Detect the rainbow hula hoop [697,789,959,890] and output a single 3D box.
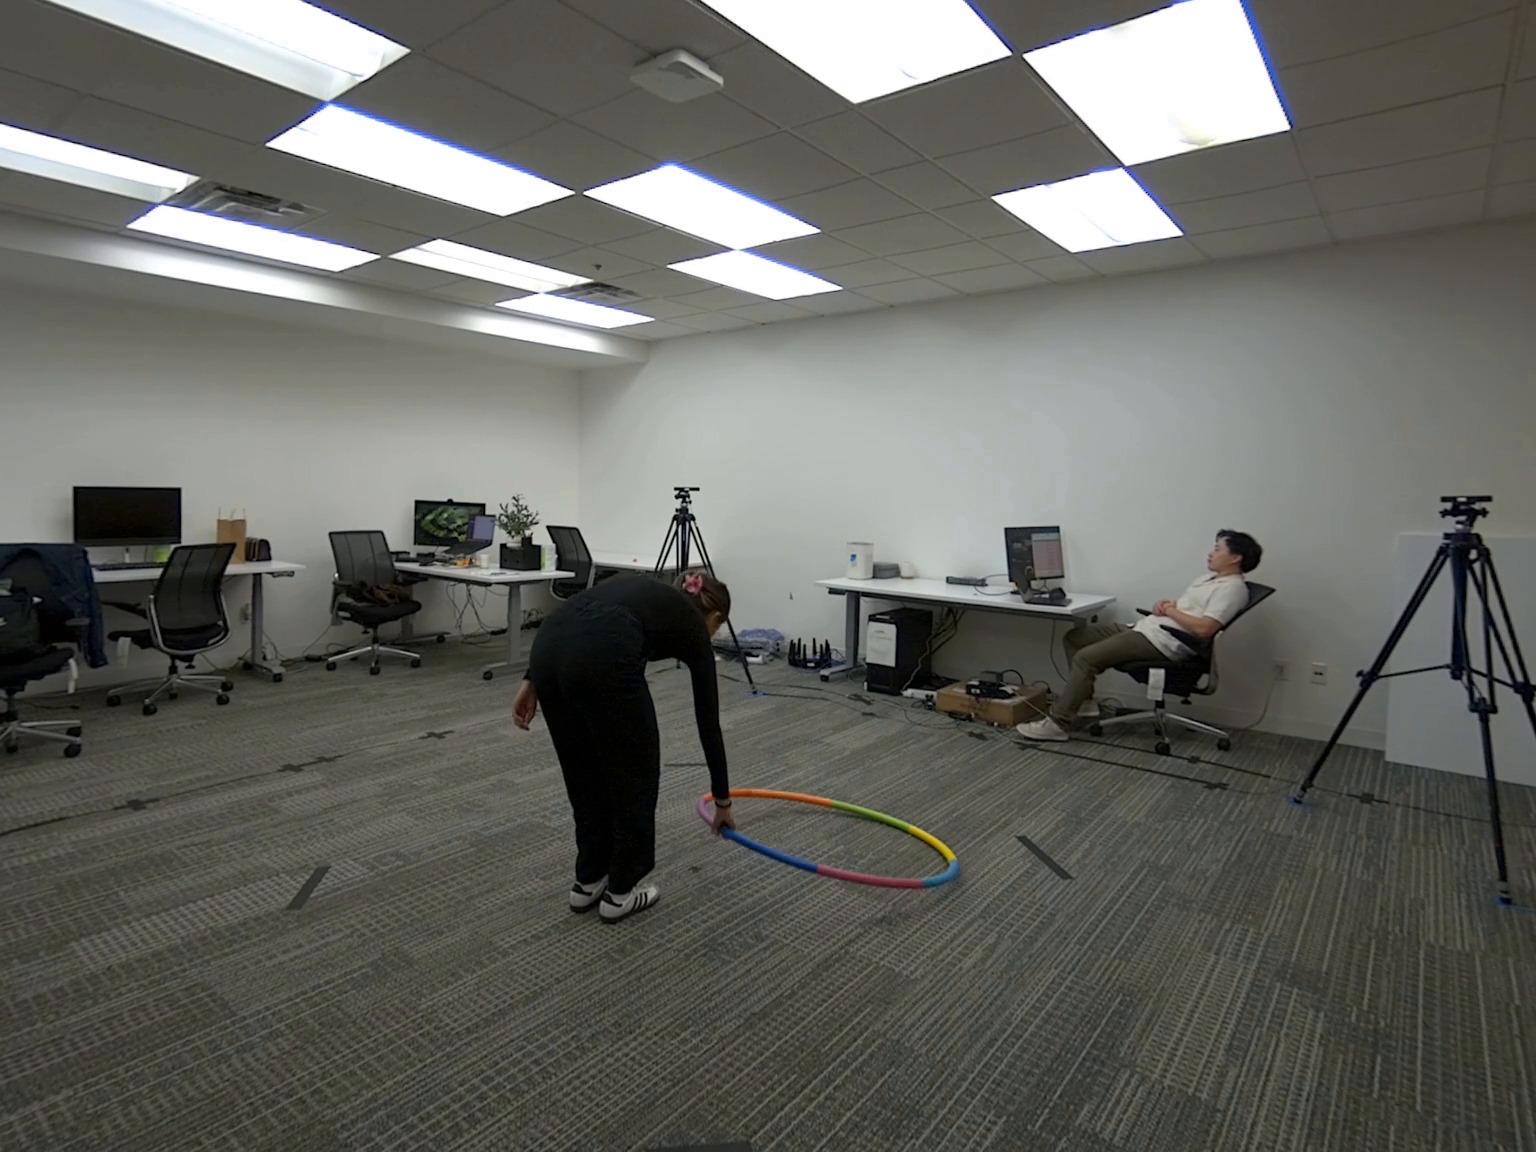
[{"bbox_3d":[0.206,0.945,3.206,0.978,0.035,0.978,11,-1,-1],"label":"rainbow hula hoop"}]
